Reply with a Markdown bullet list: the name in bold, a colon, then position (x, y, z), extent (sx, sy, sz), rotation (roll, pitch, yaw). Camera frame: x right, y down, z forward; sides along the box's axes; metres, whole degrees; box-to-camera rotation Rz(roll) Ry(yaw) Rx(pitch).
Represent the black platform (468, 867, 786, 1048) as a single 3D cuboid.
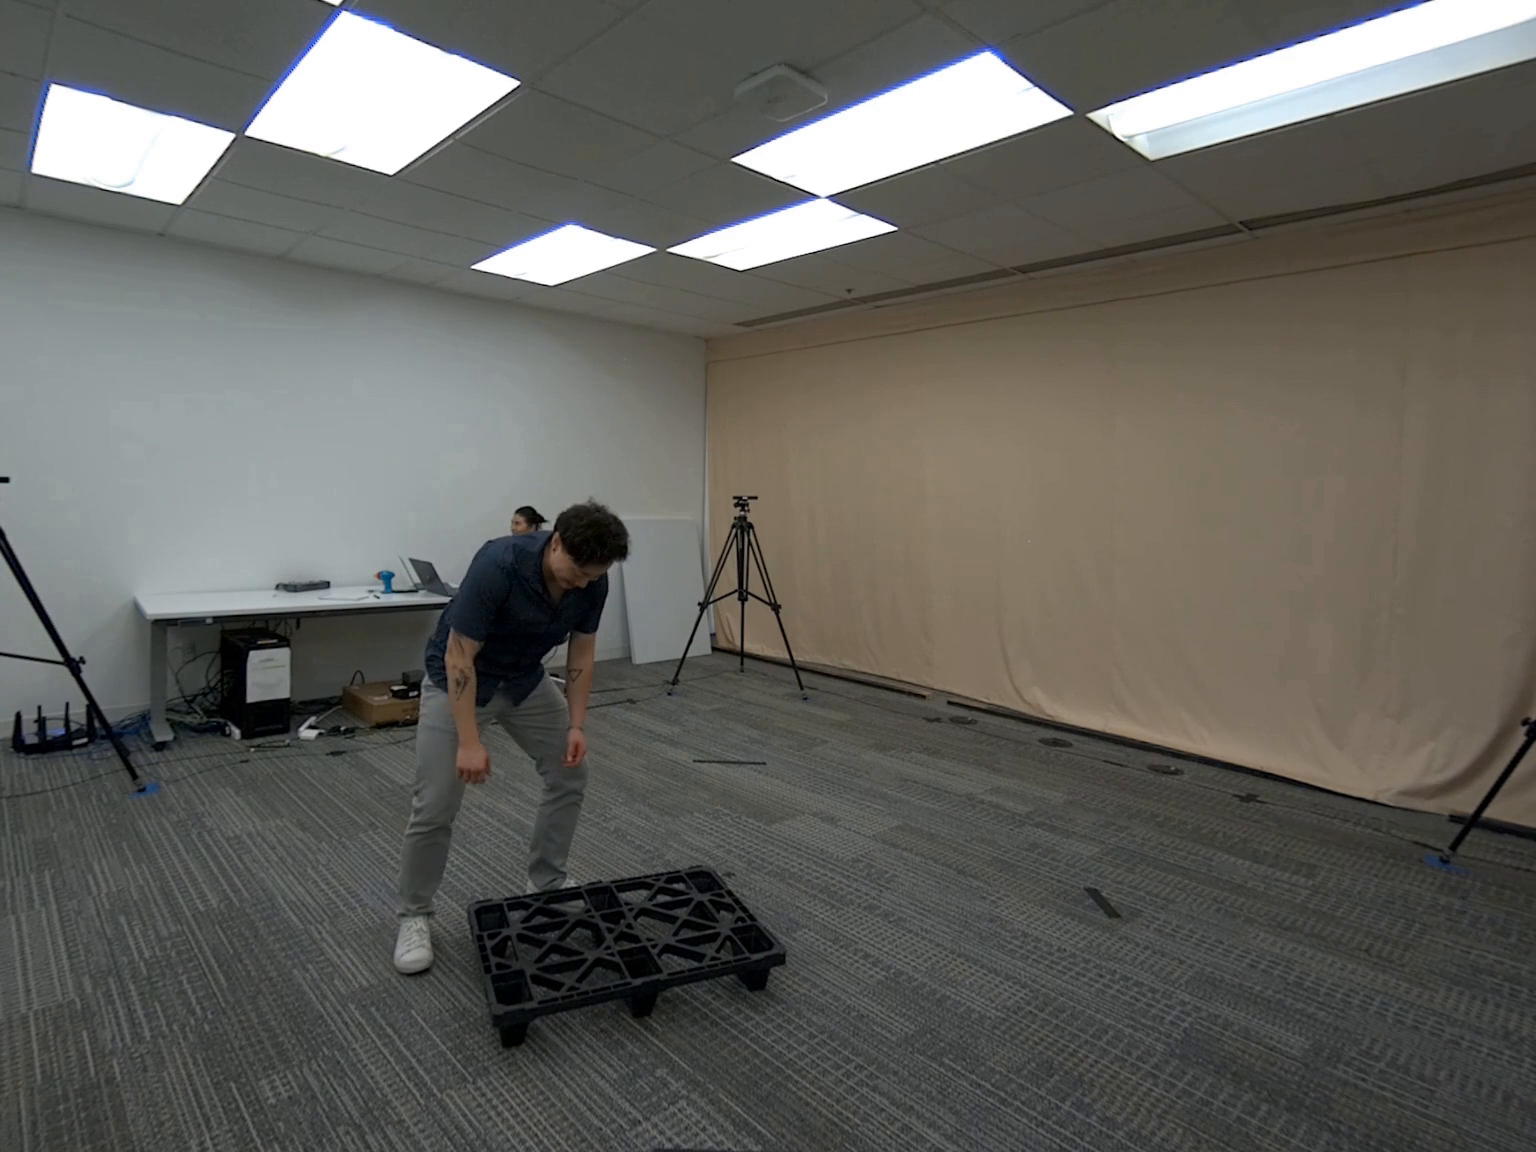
- **black platform**: position (-0.430, 1.091, 2.452), extent (0.792, 0.143, 0.618), rotation (-2, 6, -24)
